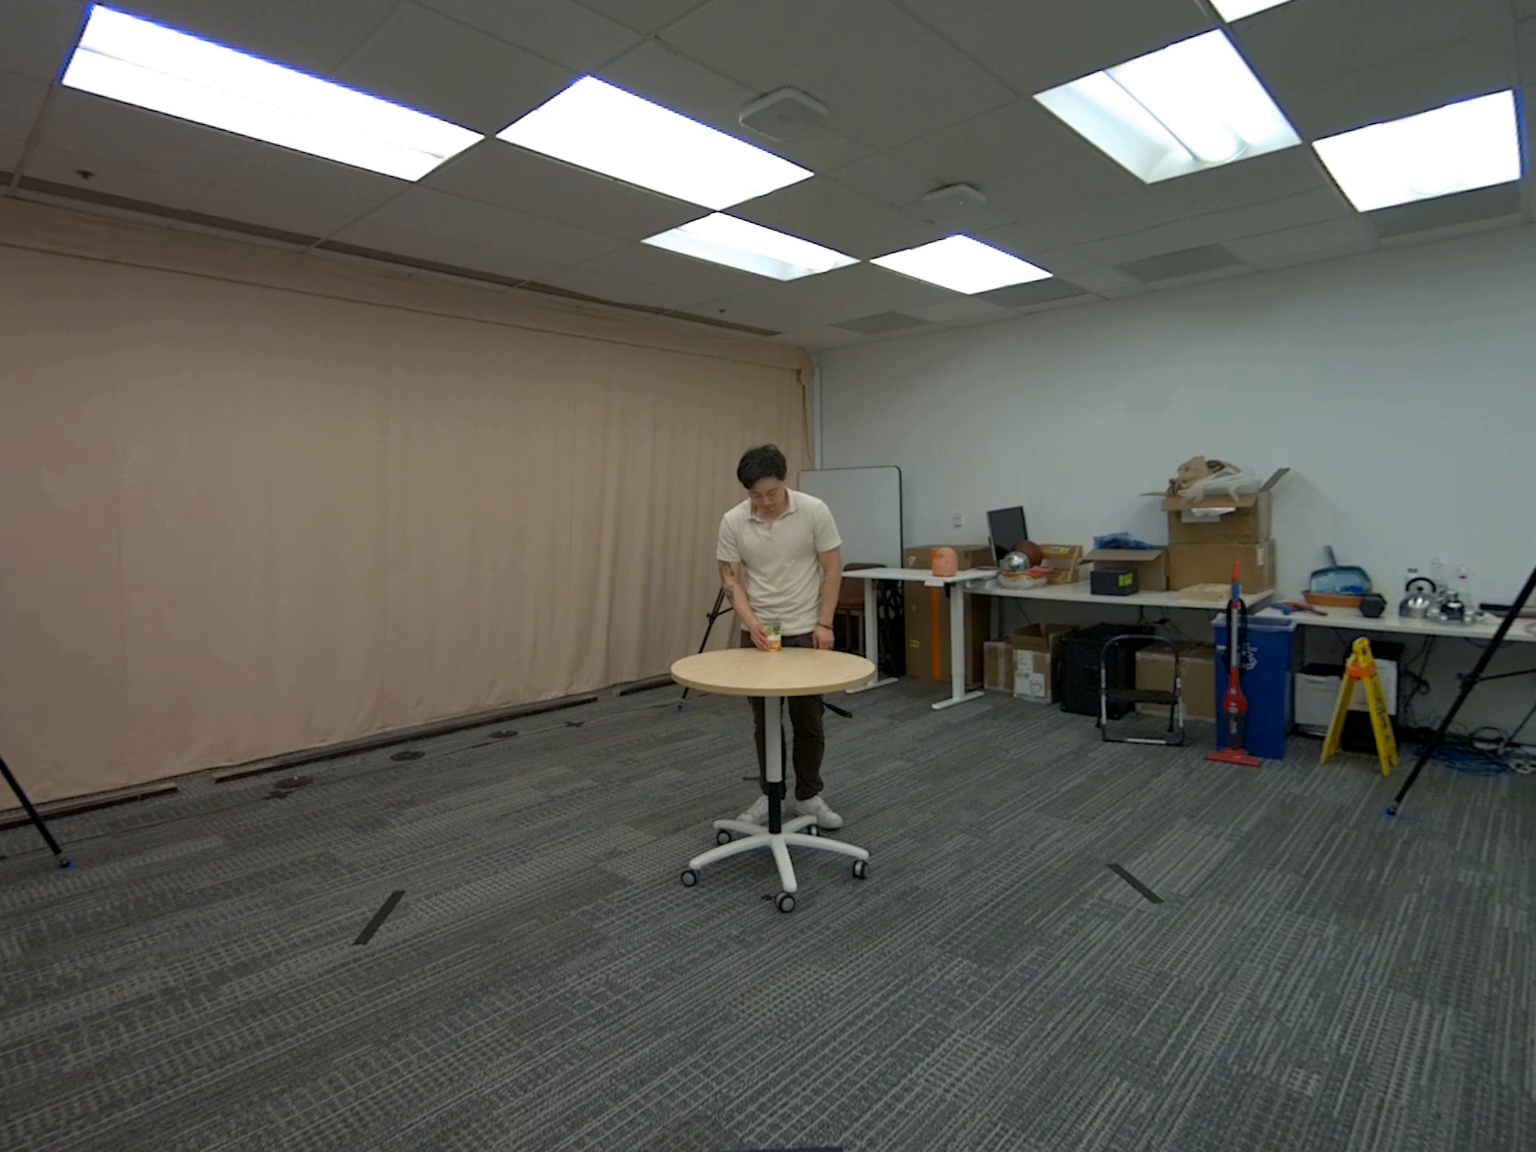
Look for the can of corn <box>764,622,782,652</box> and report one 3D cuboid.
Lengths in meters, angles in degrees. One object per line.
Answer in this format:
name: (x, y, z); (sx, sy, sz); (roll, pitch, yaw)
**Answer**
can of corn: (0.009, 0.254, 3.486); (0.074, 0.111, 0.074); (-2, -2, -2)
